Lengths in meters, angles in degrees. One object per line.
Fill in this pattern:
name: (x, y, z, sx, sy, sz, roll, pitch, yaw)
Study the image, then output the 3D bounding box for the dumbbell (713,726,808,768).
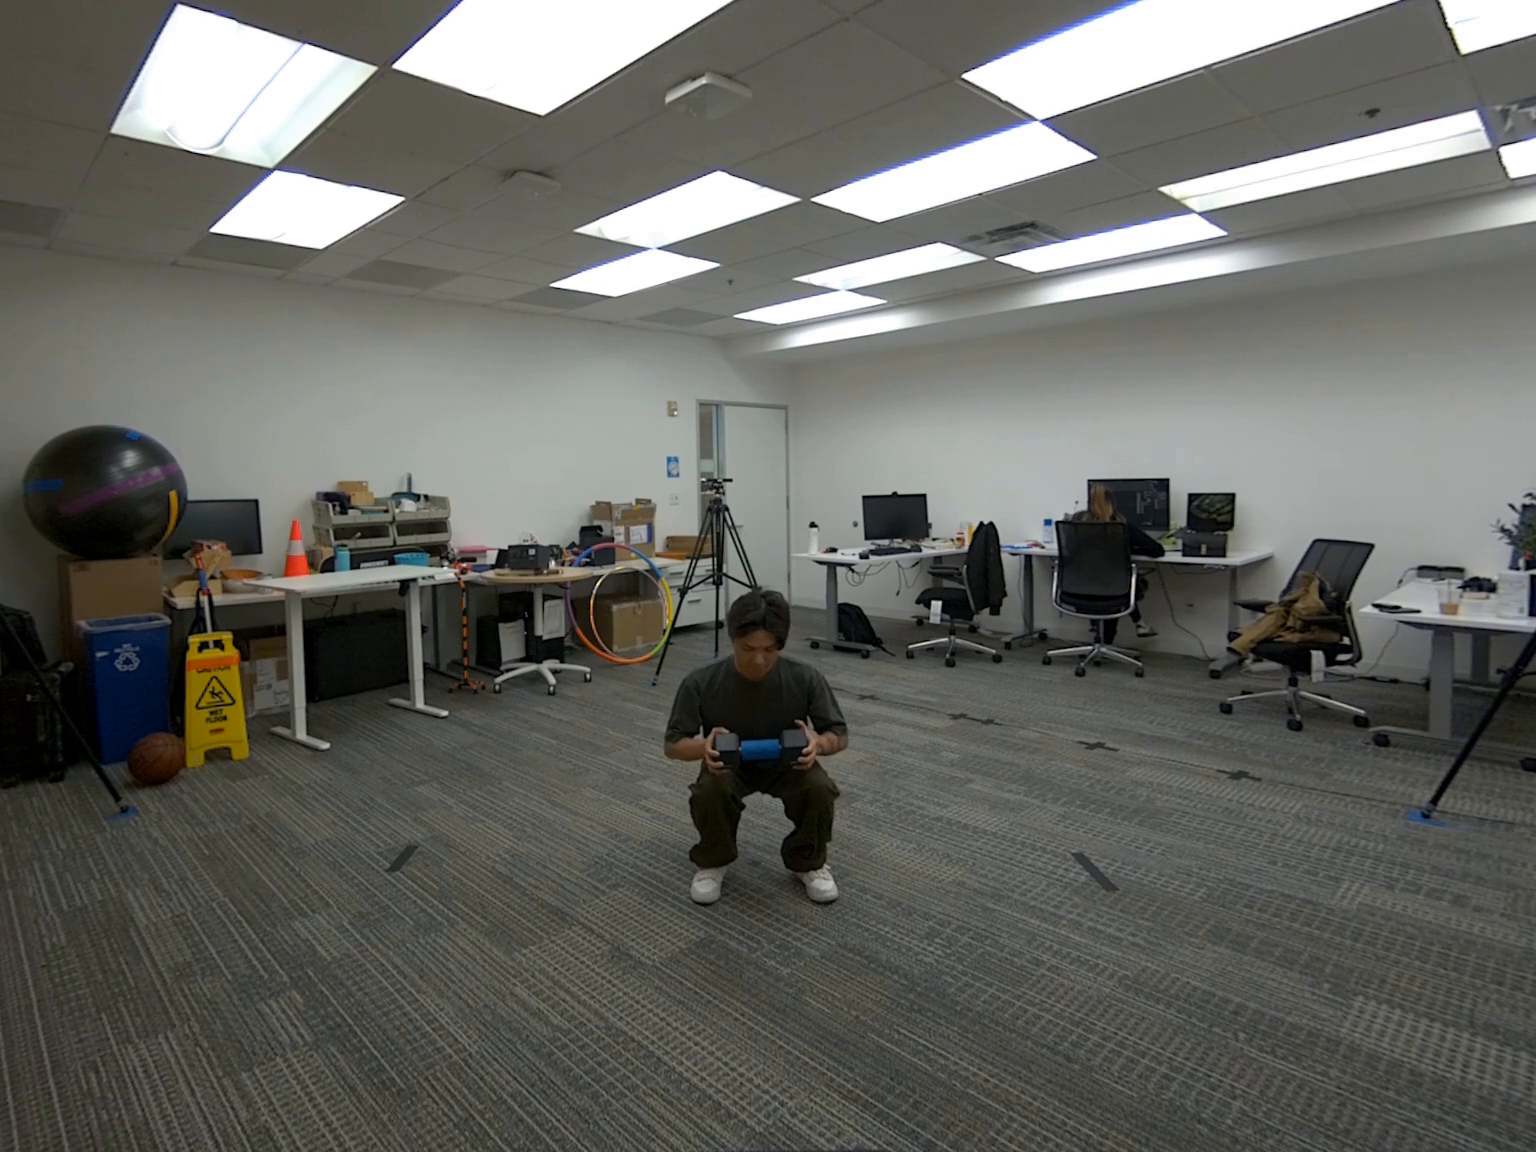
dumbbell: (-0.029, 0.555, 2.693, 0.294, 0.111, 0.120, -3, -20, 3)
